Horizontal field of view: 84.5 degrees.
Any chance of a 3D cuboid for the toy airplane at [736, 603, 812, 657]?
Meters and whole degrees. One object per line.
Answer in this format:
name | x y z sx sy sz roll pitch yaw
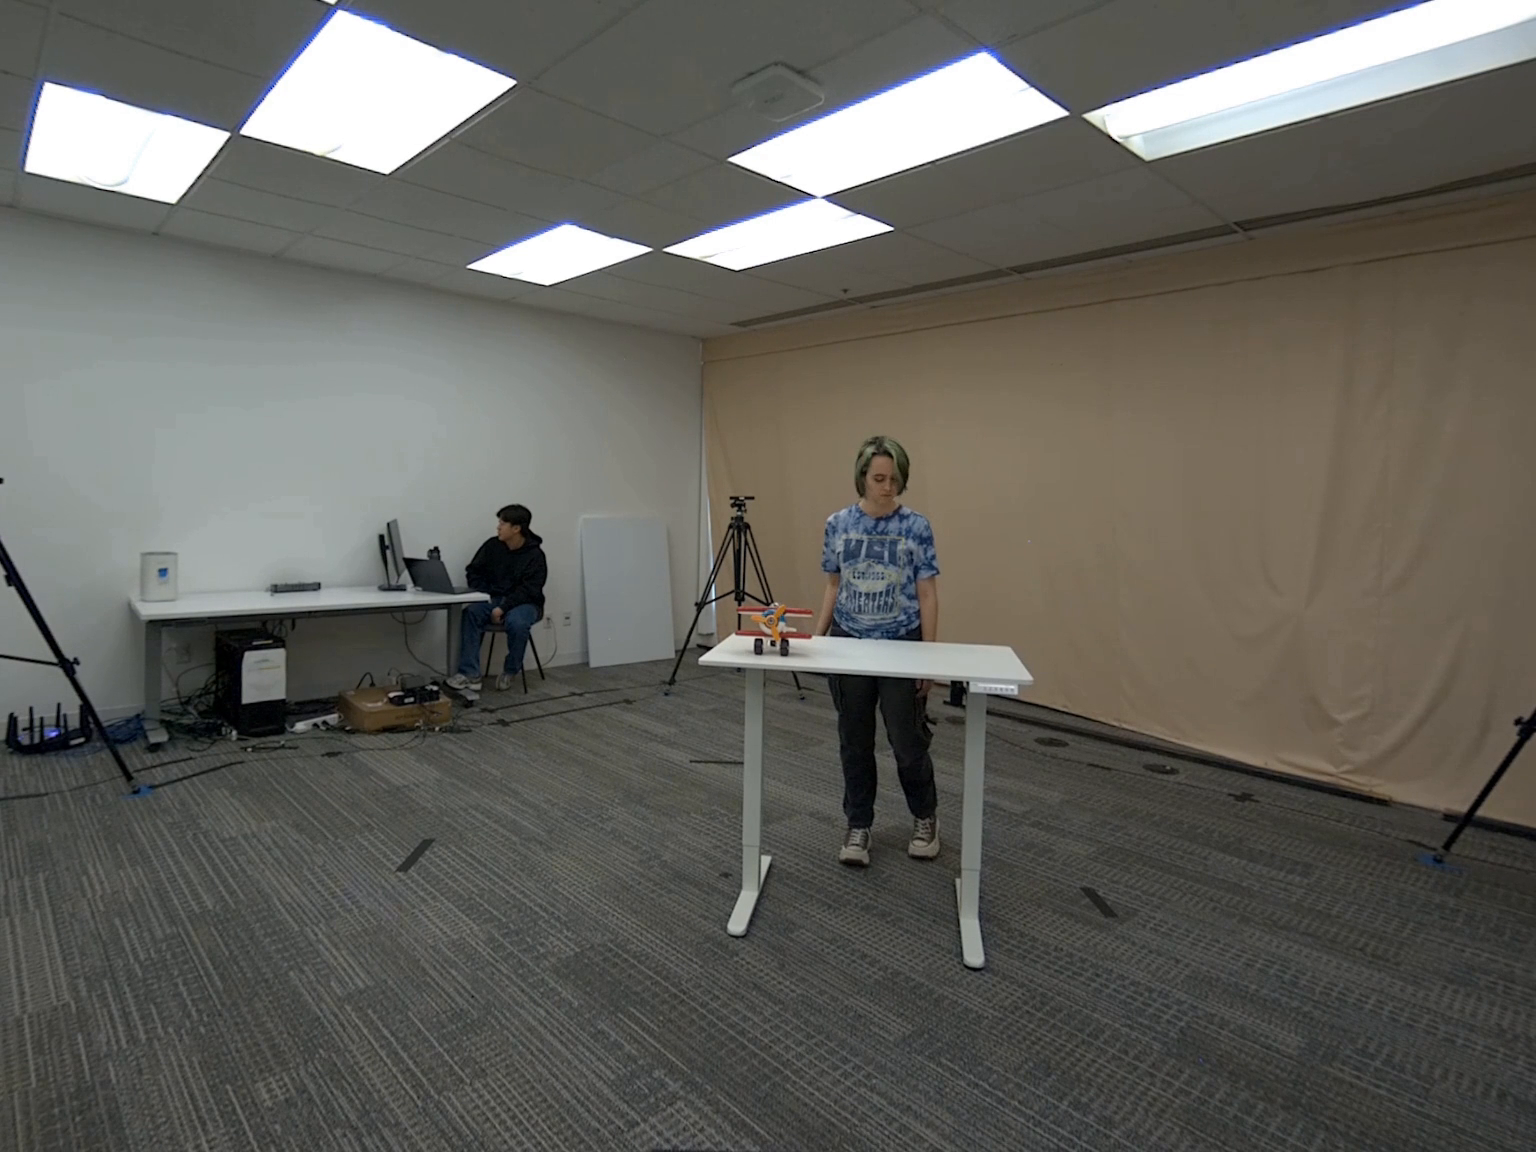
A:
toy airplane | 0.002 0.175 2.825 0.247 0.156 0.264 -1 6 -22
